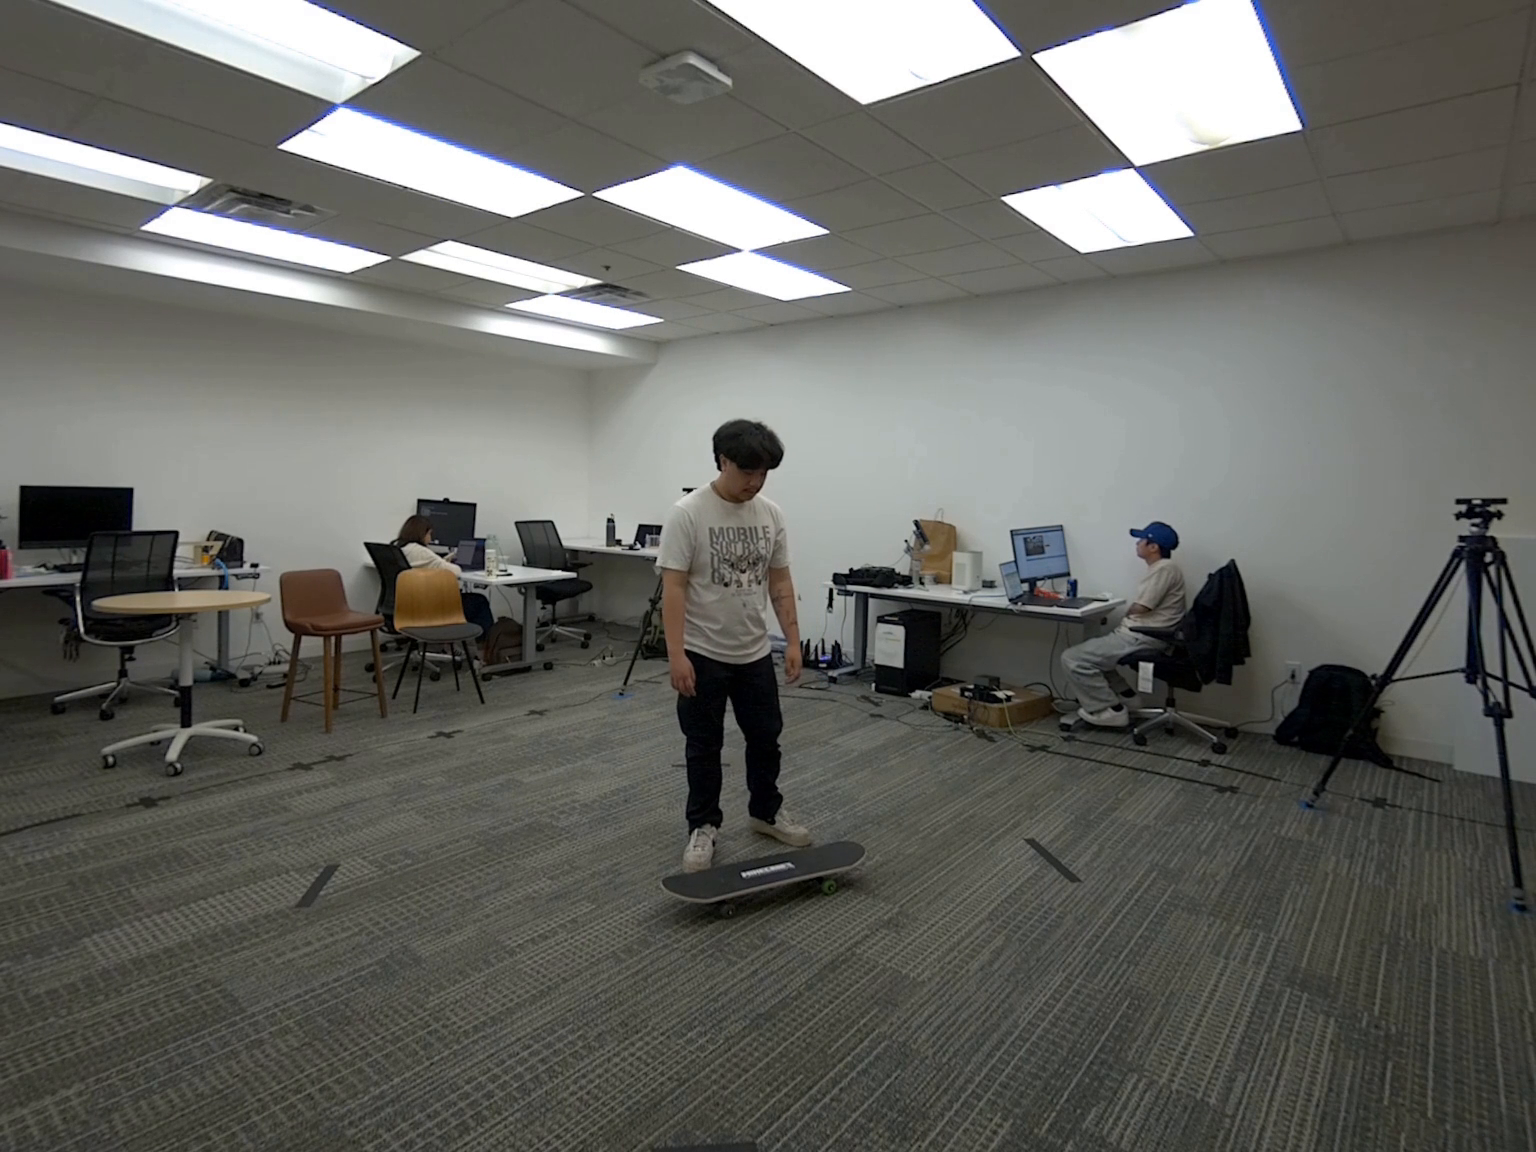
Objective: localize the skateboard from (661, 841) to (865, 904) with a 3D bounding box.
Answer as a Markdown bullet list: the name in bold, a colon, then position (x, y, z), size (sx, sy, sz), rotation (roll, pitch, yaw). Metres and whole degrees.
- **skateboard**: position (-0.006, 1.037, 2.914), size (0.765, 0.110, 0.199), rotation (-2, 6, -28)
